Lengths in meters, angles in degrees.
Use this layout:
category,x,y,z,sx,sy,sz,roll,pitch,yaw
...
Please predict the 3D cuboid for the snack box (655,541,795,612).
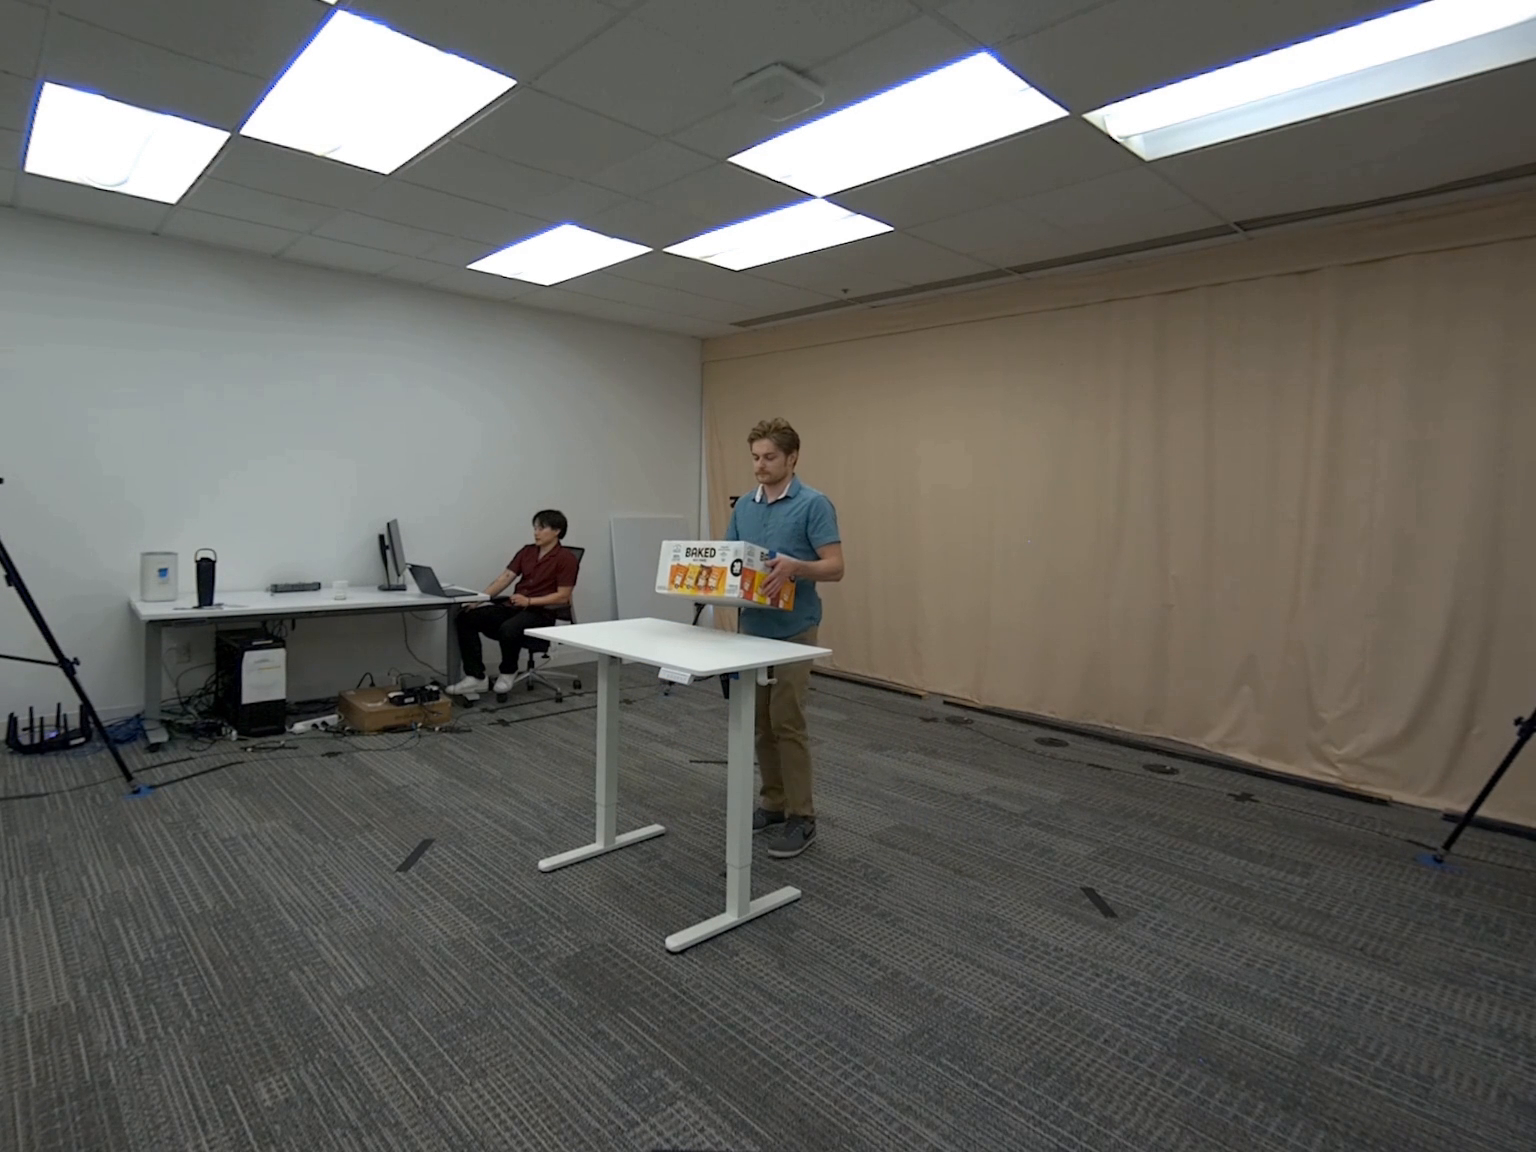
category,x,y,z,sx,sy,sz,roll,pitch,yaw
snack box,-0.162,0.000,3.219,0.415,0.207,0.330,2,-10,38
